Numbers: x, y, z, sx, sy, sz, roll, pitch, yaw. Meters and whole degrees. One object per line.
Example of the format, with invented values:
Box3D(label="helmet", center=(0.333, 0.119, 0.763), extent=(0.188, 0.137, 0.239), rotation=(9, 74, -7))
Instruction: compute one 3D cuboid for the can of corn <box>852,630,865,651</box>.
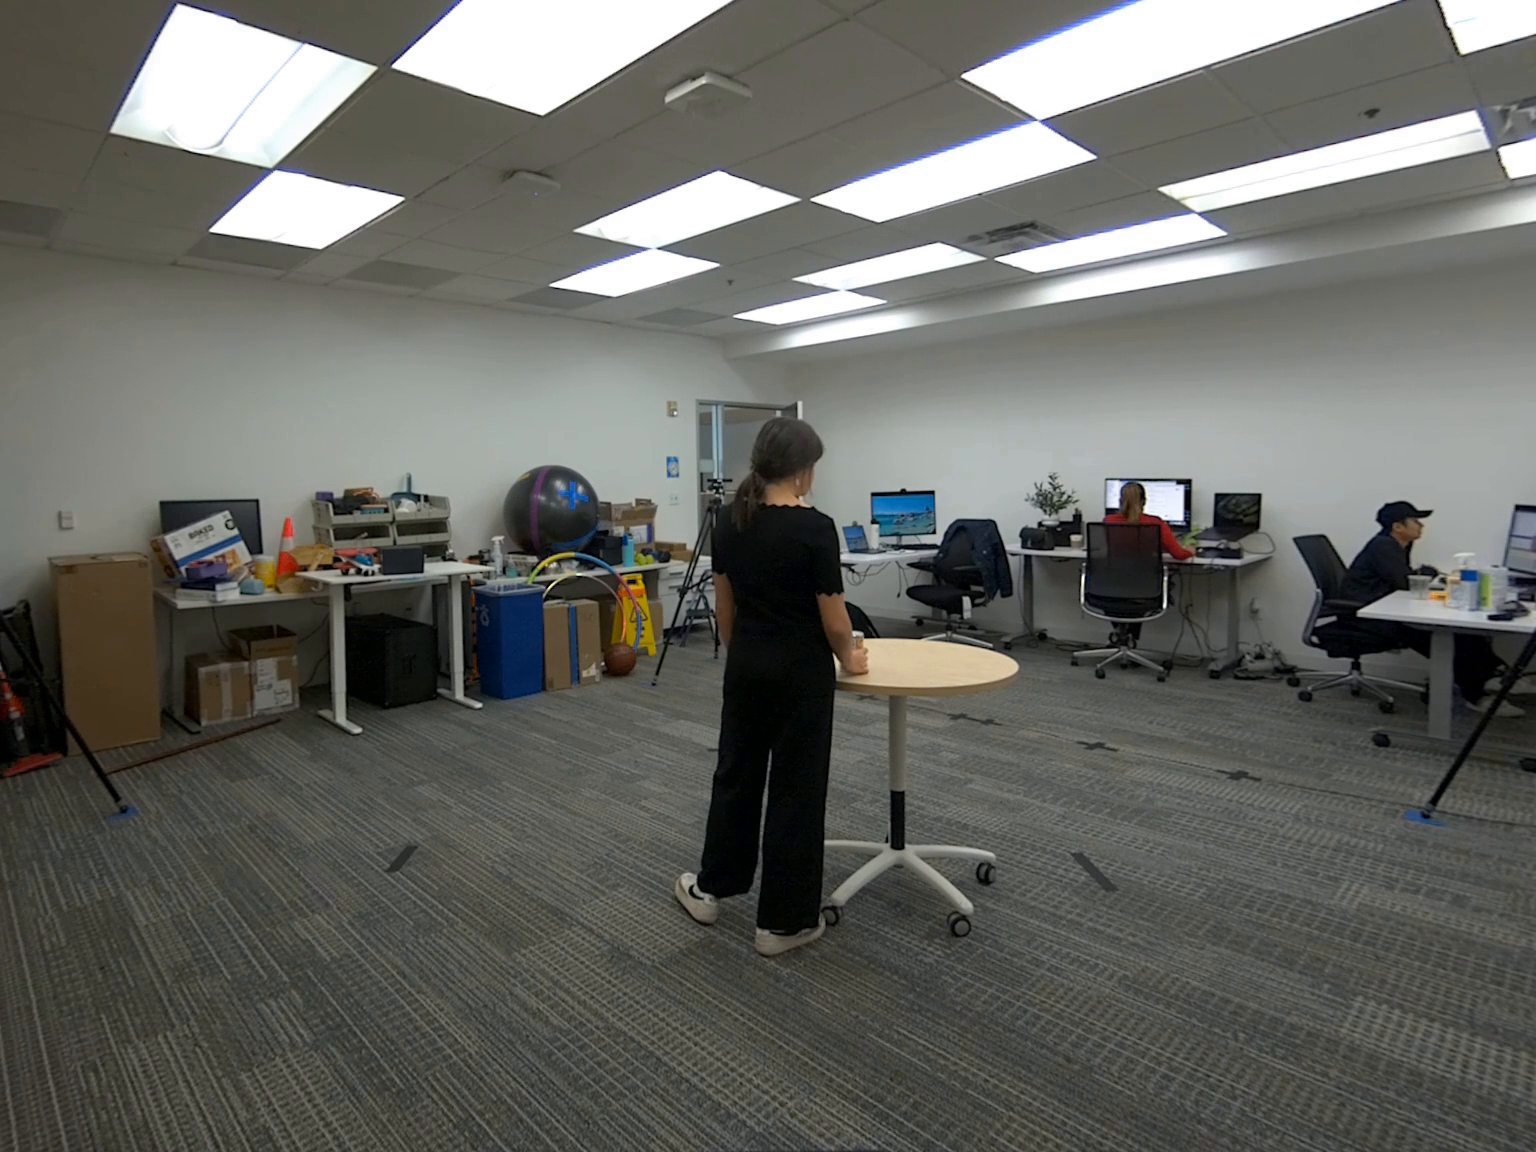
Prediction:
Box3D(label="can of corn", center=(0.281, 0.233, 2.702), extent=(0.074, 0.110, 0.075), rotation=(2, 6, -2))
